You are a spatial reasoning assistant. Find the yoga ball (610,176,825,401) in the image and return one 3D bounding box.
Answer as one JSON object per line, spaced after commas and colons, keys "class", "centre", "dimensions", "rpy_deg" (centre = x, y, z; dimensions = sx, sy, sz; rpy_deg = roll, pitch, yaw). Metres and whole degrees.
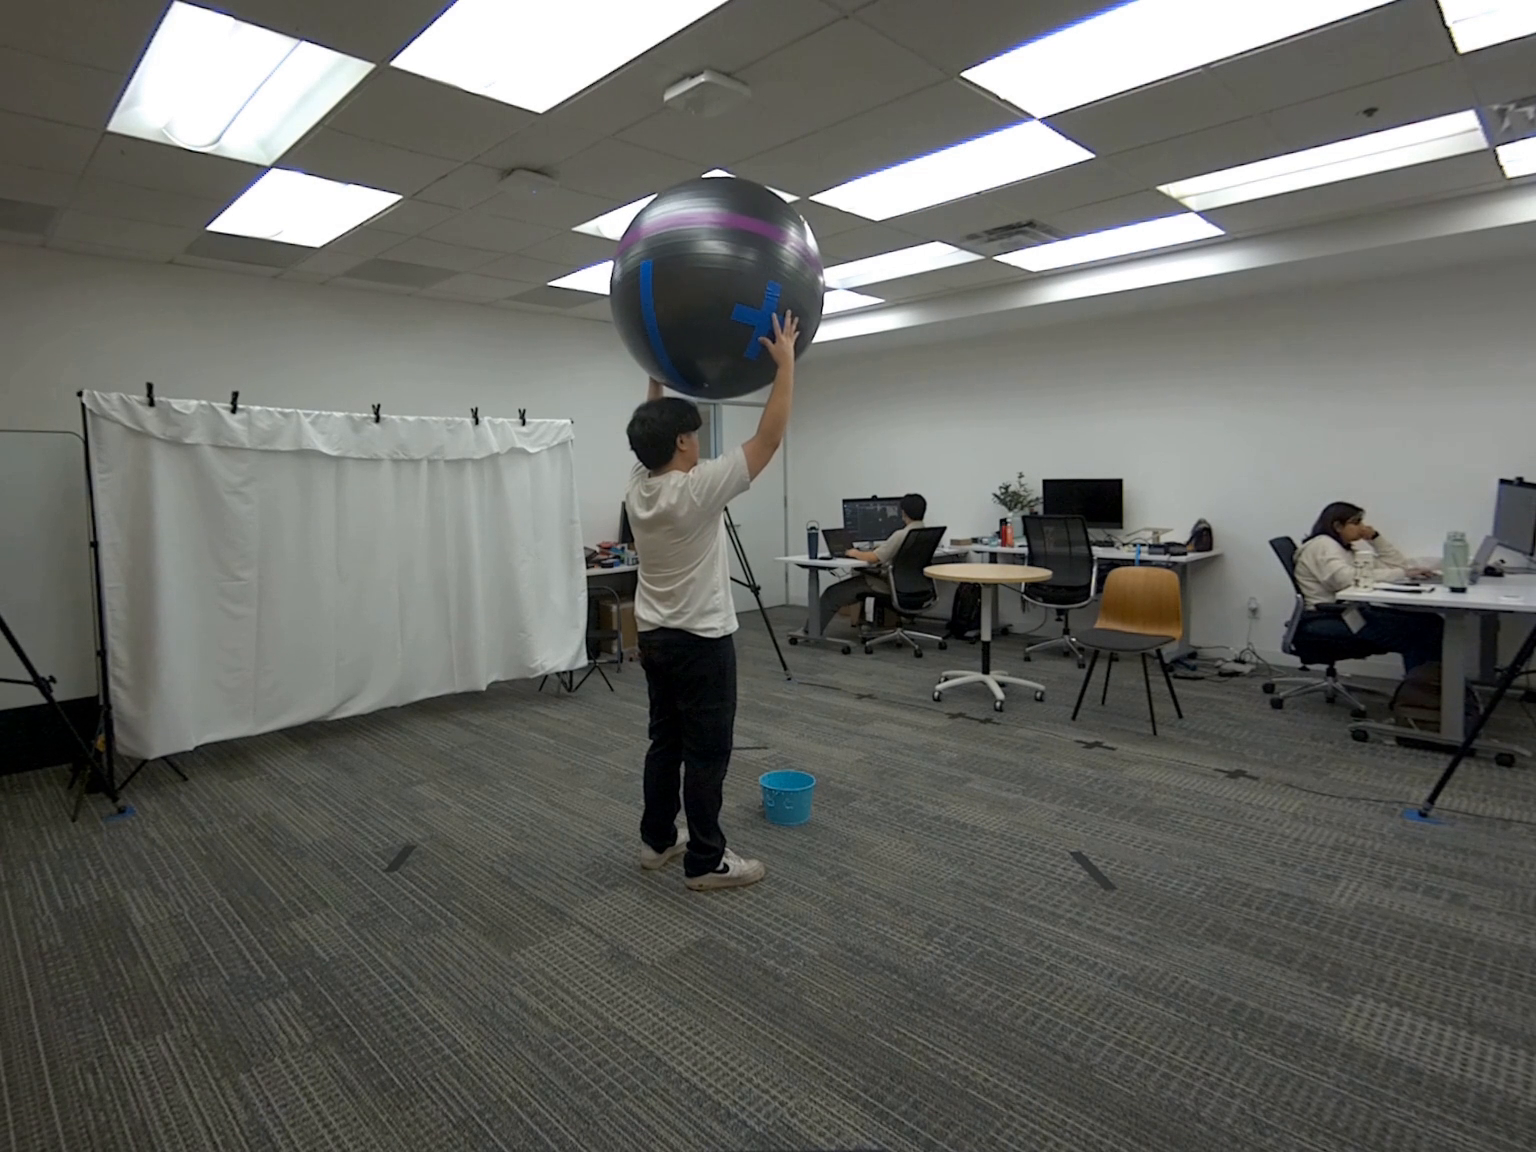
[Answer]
{"class": "yoga ball", "centre": [-0.181, -1.006, 3.024], "dimensions": [0.757, 0.755, 0.762], "rpy_deg": [-1, 5, -2]}
